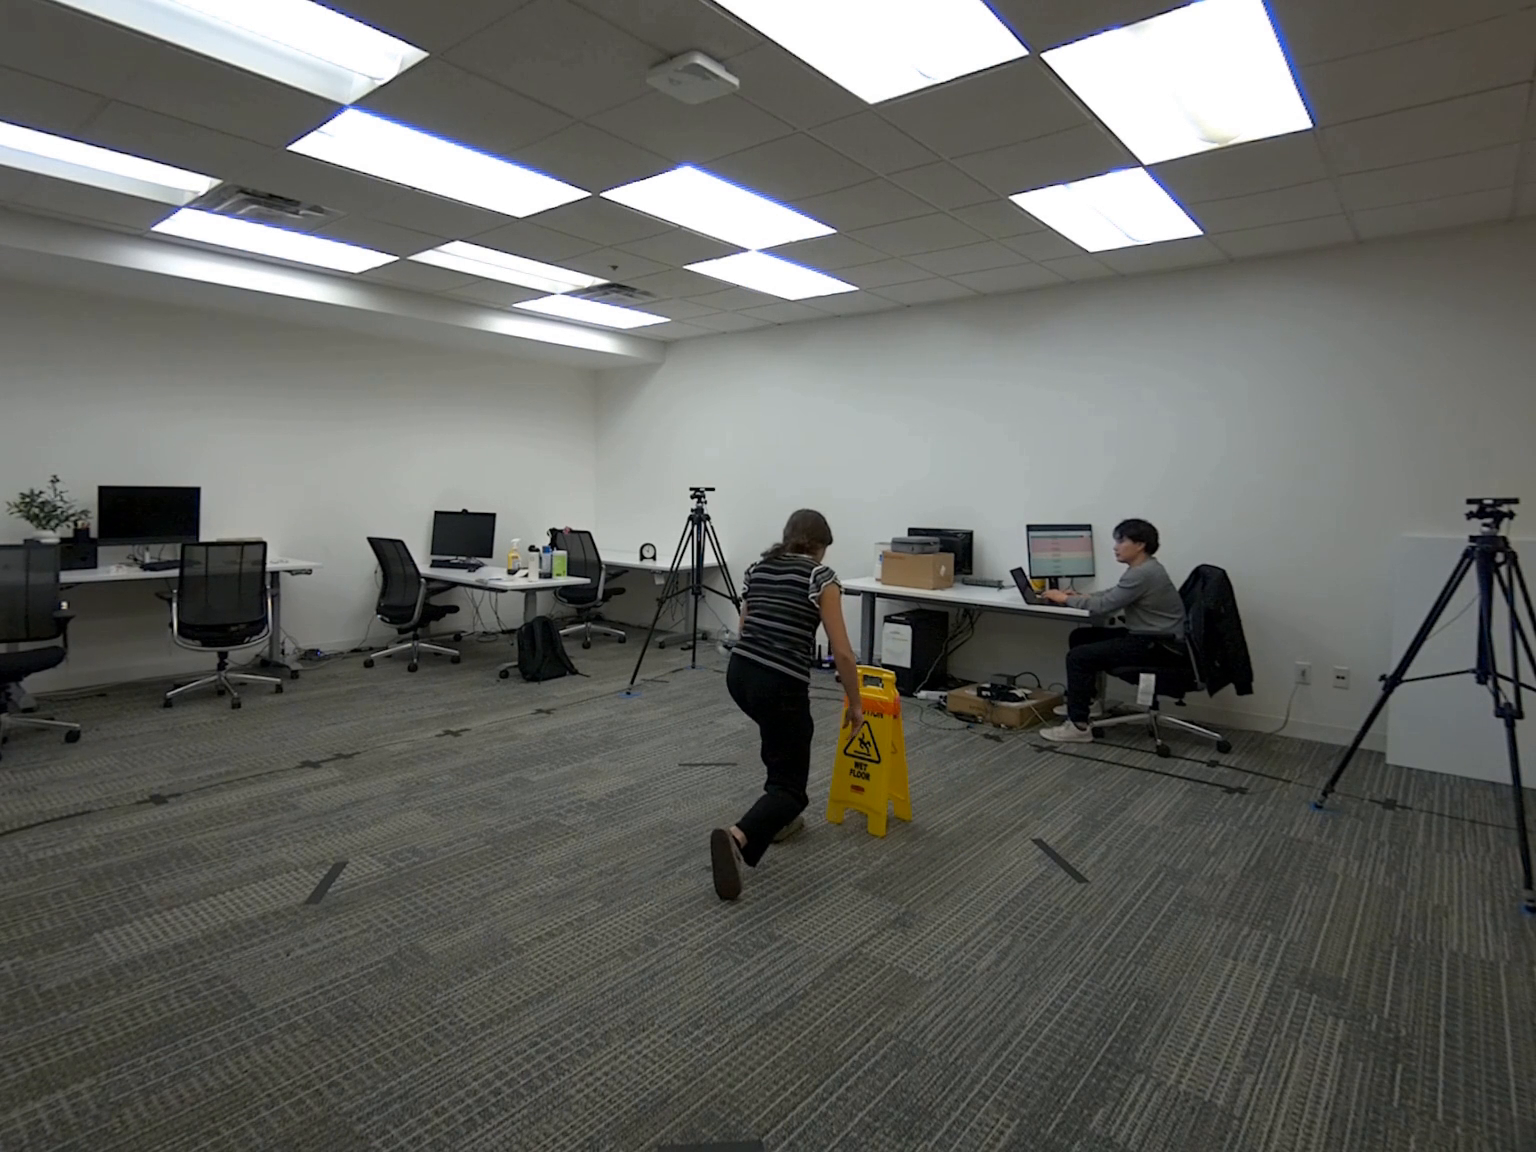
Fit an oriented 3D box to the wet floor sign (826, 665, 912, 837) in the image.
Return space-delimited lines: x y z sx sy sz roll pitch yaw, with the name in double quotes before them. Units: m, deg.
"wet floor sign" 0.423 0.712 3.593 0.291 0.645 0.281 3 3 37
